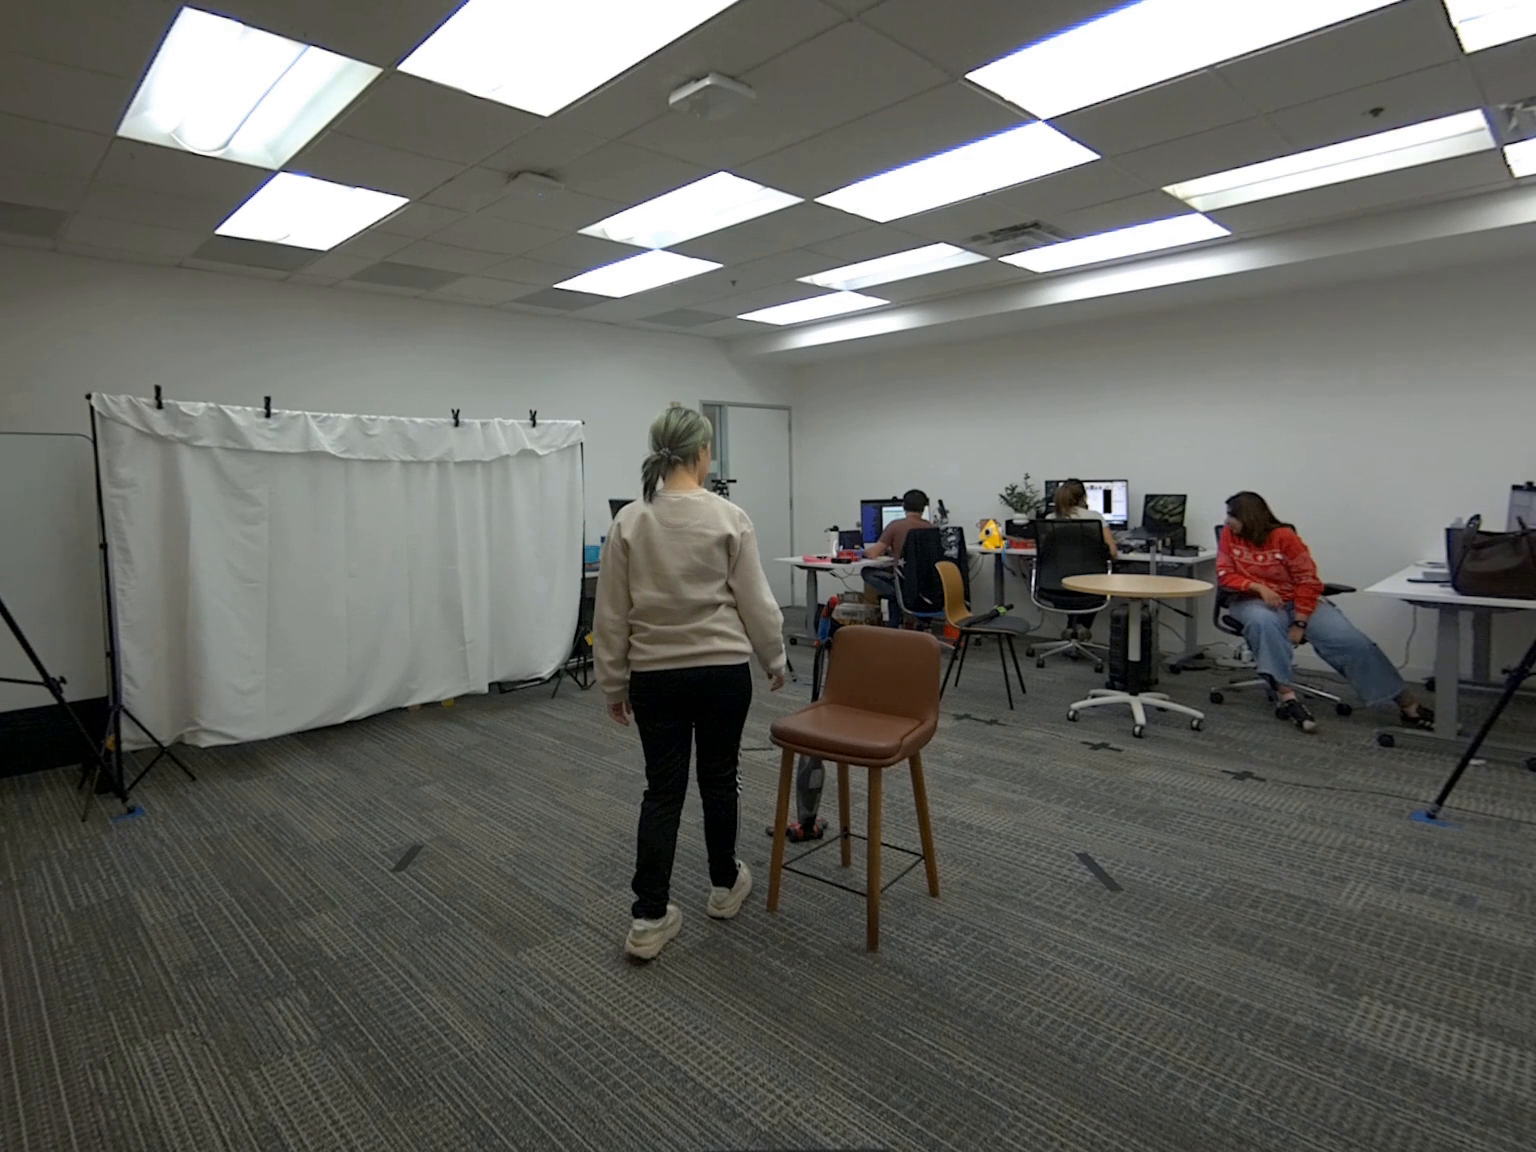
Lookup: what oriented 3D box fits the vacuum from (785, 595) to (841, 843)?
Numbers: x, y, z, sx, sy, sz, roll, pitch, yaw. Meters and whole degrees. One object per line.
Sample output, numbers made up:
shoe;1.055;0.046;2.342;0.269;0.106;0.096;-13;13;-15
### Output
vacuum;0.181;0.546;3.160;0.248;1.031;0.149;-2;25;-18
